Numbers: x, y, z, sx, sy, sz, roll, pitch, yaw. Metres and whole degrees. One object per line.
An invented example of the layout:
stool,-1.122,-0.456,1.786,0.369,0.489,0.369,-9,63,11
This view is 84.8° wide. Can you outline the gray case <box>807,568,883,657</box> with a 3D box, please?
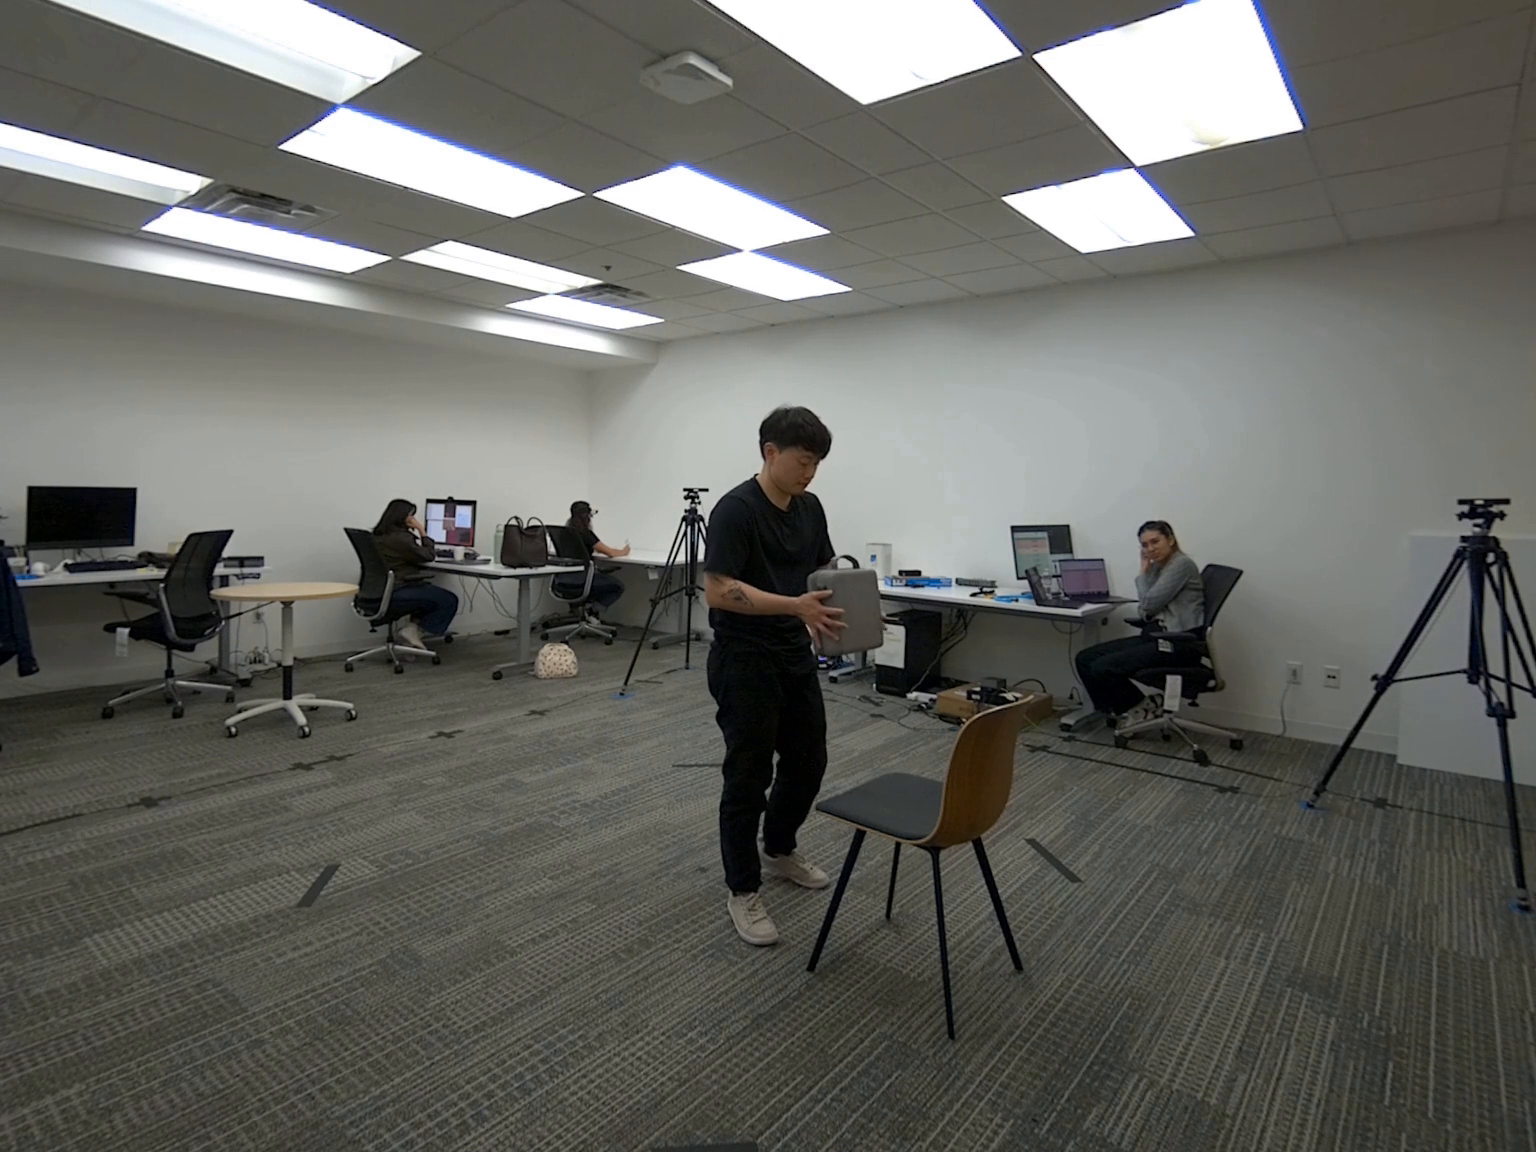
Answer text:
gray case,0.230,0.104,2.582,0.250,0.260,0.107,-5,2,-38
